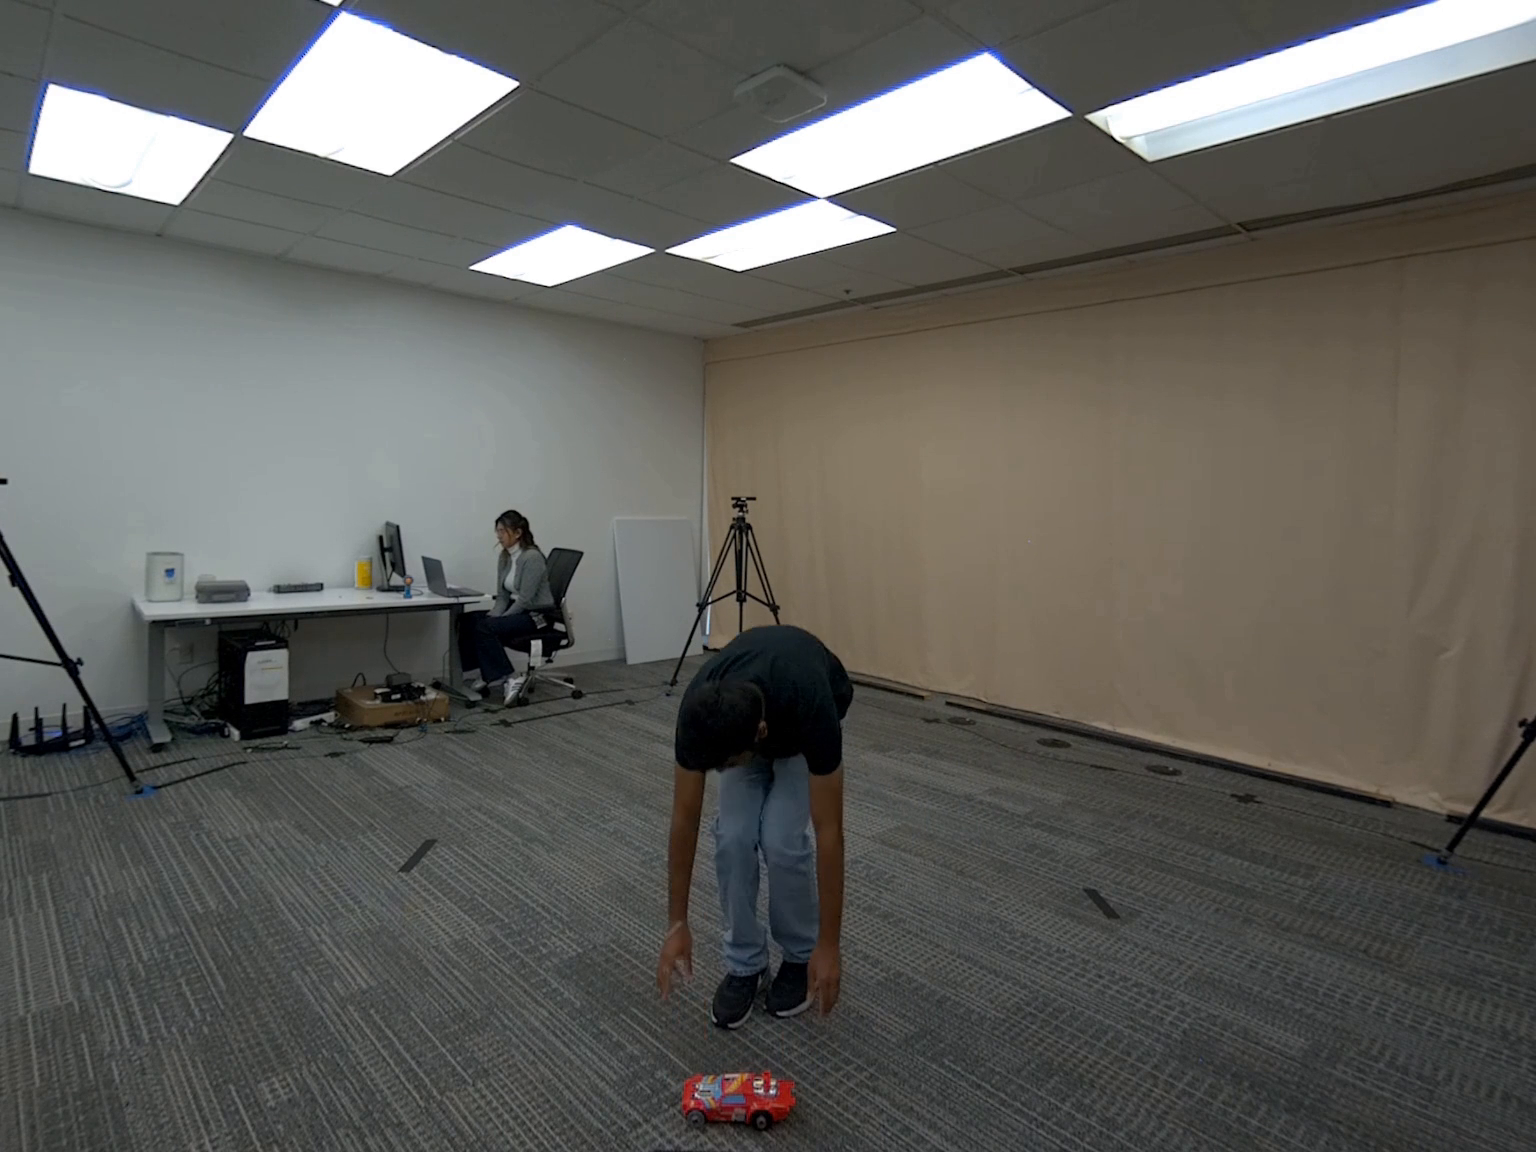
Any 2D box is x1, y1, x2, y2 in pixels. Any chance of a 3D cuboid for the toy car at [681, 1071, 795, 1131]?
[{"bbox_3d":[-0.074,1.189,1.907,0.255,0.083,0.130,-8,4,3],"label":"toy car"}]
